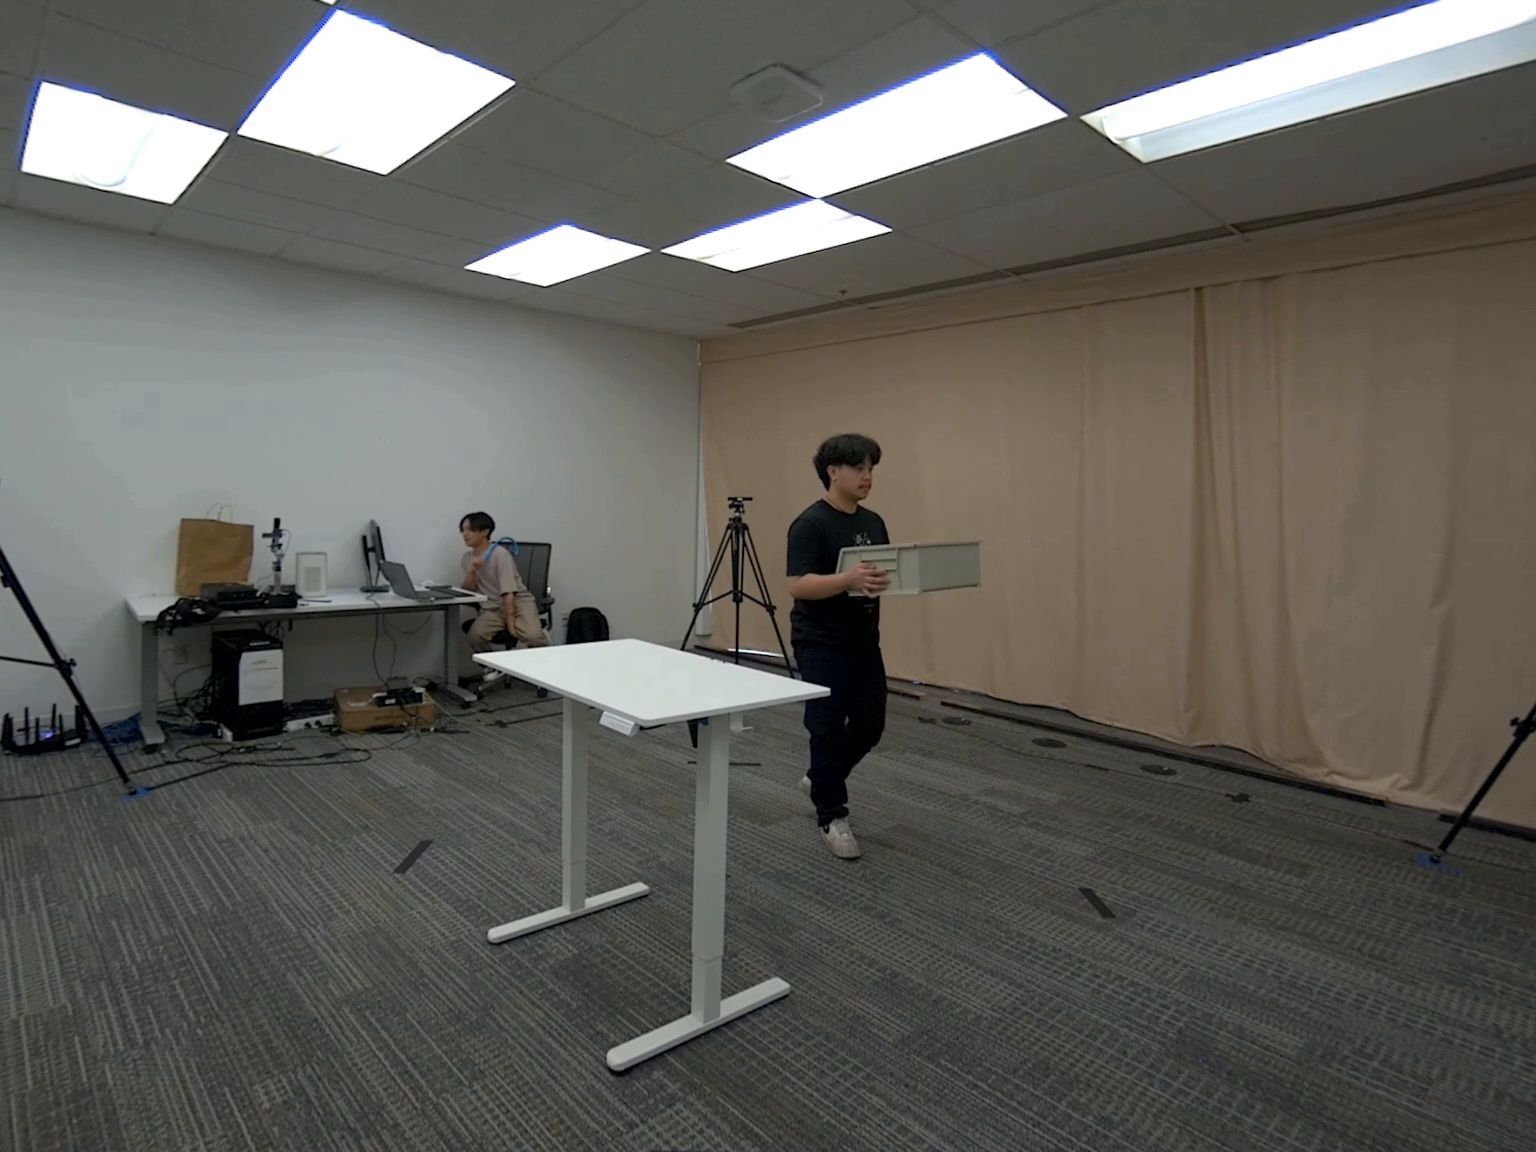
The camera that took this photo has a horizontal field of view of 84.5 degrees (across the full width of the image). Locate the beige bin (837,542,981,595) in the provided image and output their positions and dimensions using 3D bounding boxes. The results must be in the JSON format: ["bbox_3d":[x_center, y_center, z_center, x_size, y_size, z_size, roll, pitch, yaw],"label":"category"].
[{"bbox_3d":[0.524,-0.032,3.172,0.413,0.189,0.386,-4,3,-43],"label":"beige bin"}]
